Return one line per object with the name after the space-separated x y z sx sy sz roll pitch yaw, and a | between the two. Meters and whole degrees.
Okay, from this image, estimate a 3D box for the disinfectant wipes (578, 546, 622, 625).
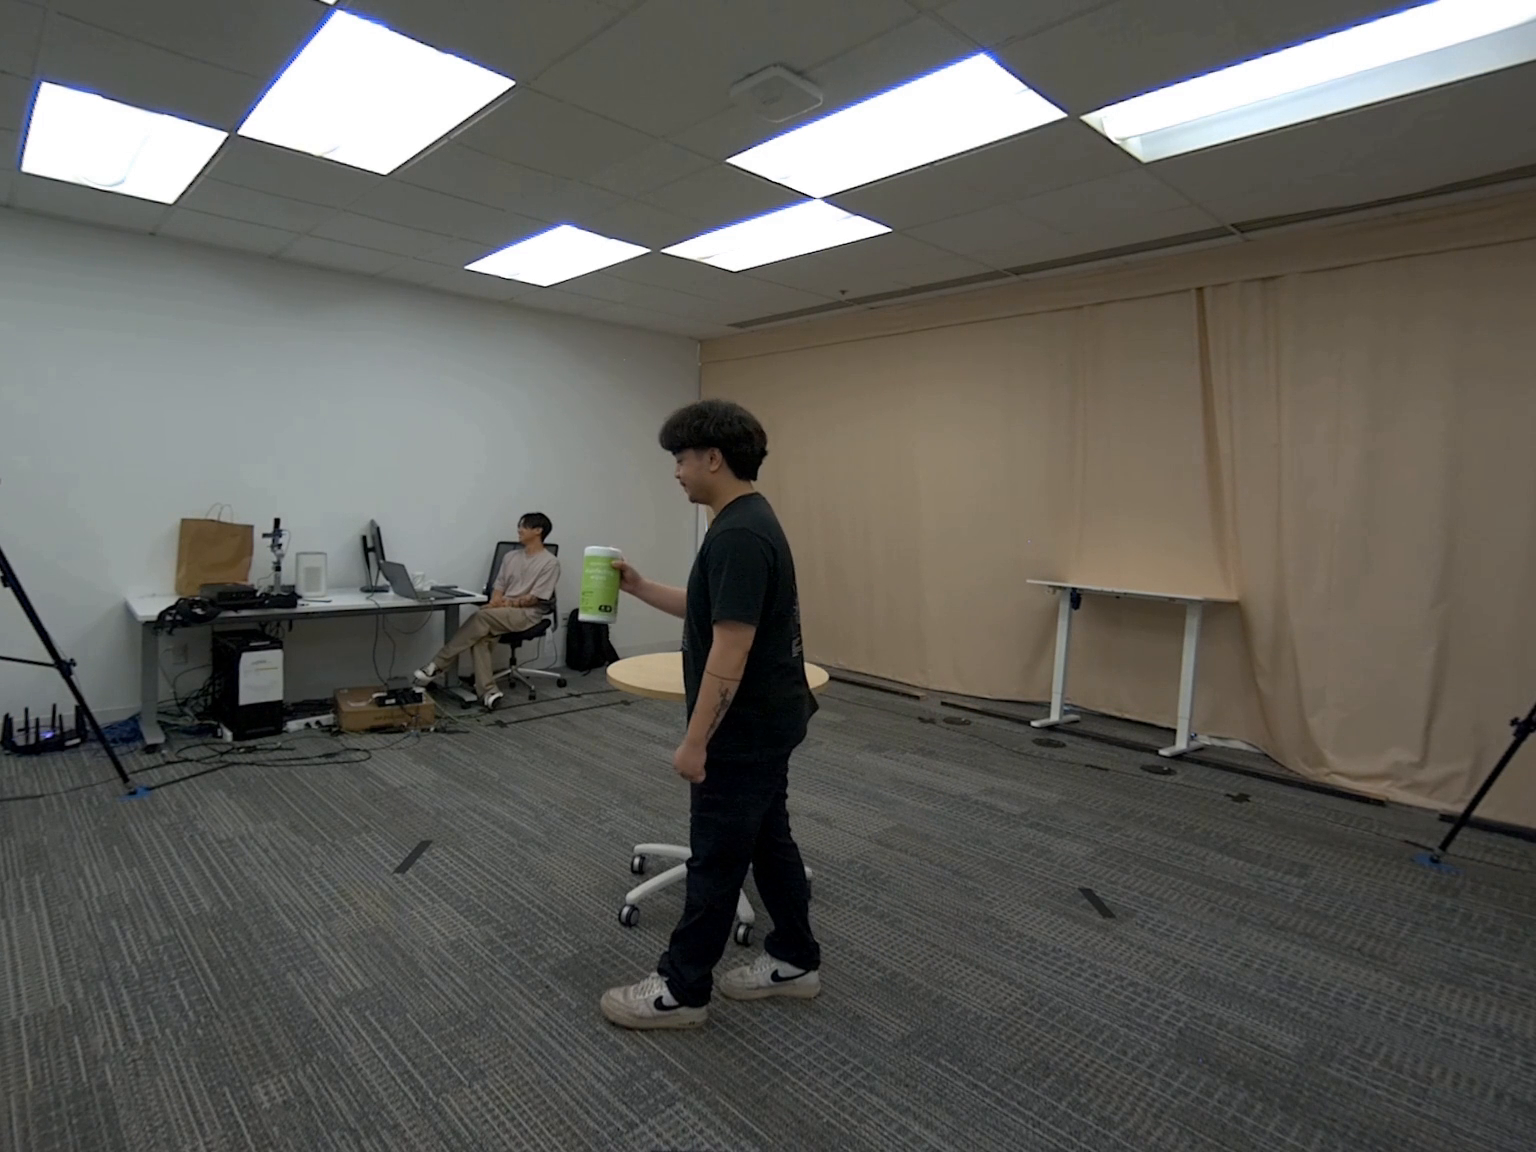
-0.488 0.030 2.438 0.118 0.218 0.117 4 -5 -1 | disinfectant wipes
